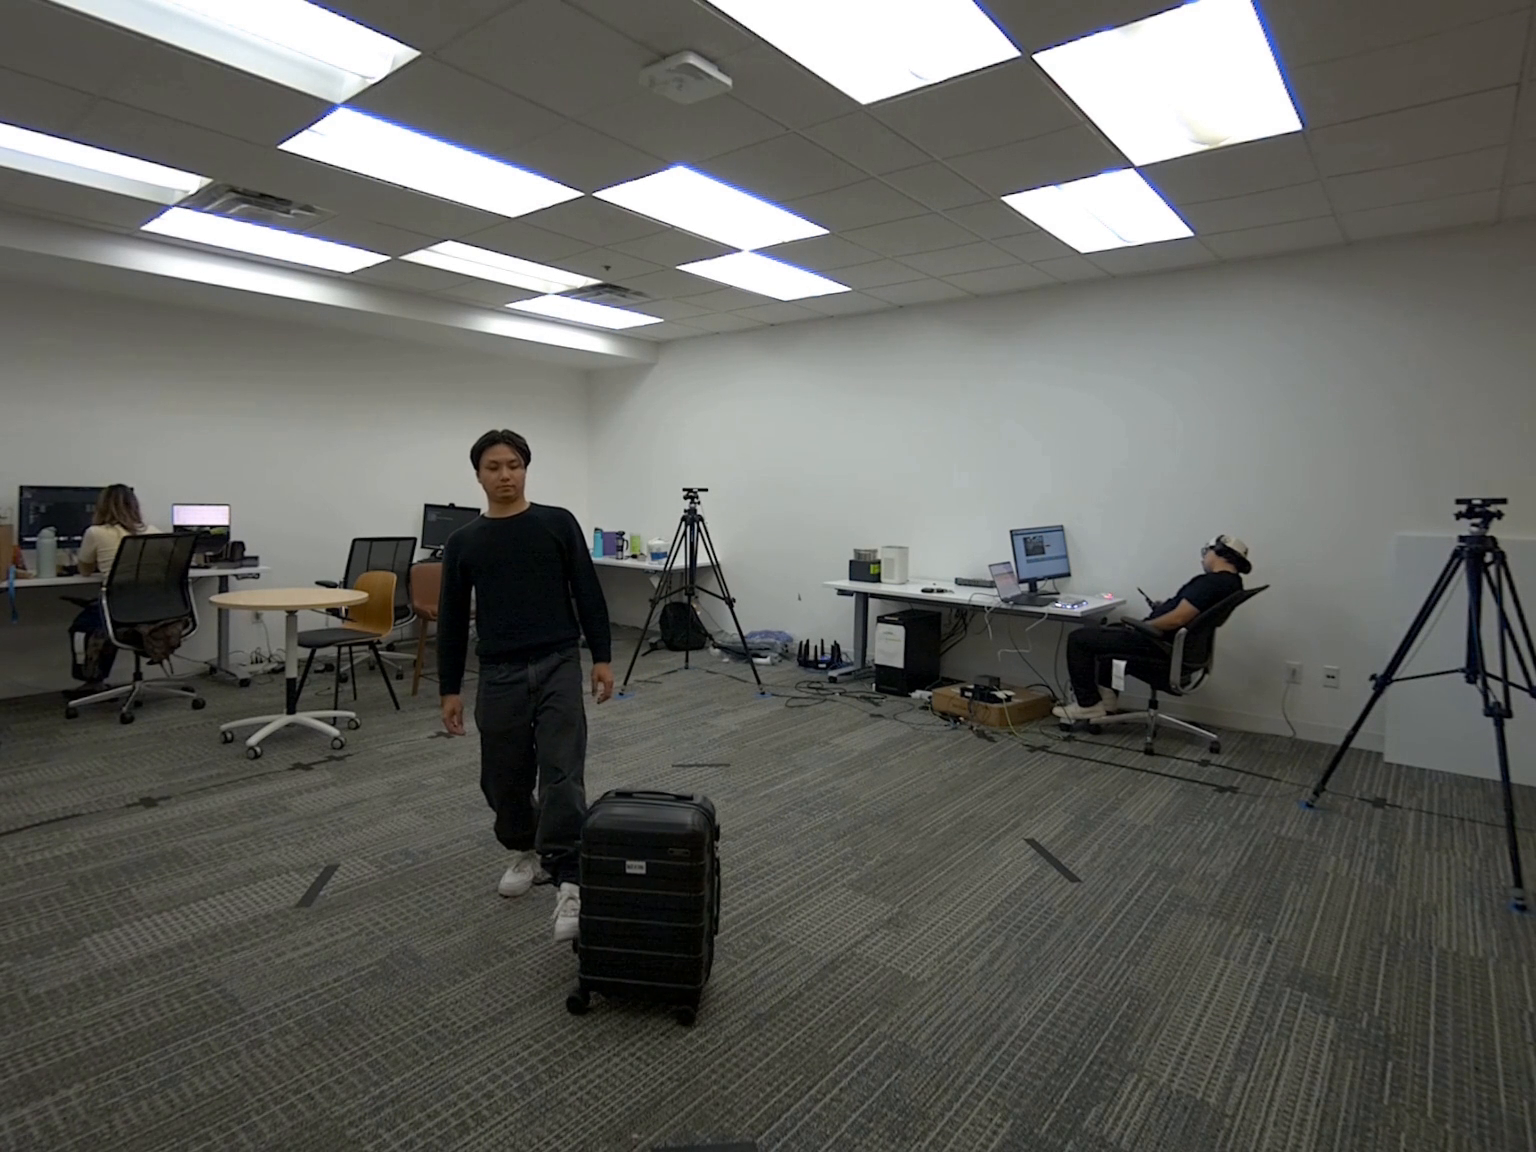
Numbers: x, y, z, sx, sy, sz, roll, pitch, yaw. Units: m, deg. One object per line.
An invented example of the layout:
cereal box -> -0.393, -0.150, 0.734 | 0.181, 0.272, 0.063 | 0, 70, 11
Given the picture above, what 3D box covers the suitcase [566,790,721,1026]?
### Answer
suitcase -> -0.329, 0.869, 2.318 | 0.378, 0.547, 0.247 | 2, 4, 5
